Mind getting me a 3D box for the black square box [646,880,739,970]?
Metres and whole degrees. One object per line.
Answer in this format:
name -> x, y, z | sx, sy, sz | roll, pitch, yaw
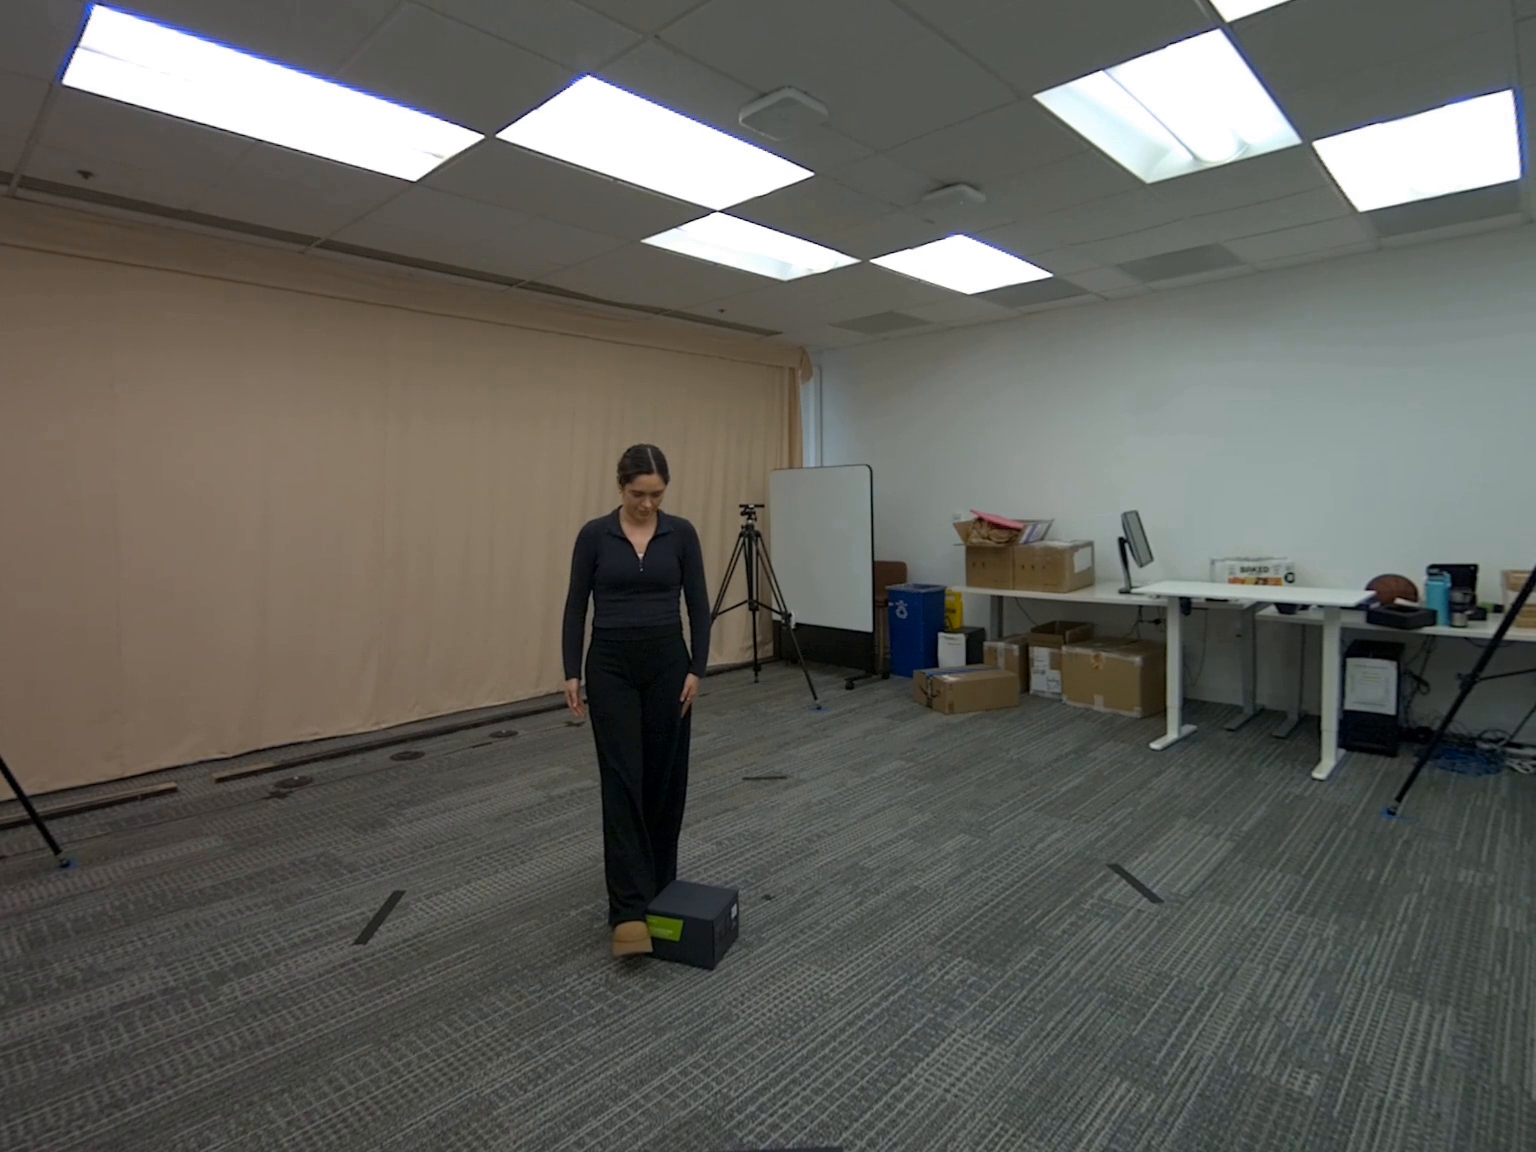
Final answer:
black square box -> -0.233, 1.090, 2.644 | 0.233, 0.155, 0.213 | 1, 4, 21
